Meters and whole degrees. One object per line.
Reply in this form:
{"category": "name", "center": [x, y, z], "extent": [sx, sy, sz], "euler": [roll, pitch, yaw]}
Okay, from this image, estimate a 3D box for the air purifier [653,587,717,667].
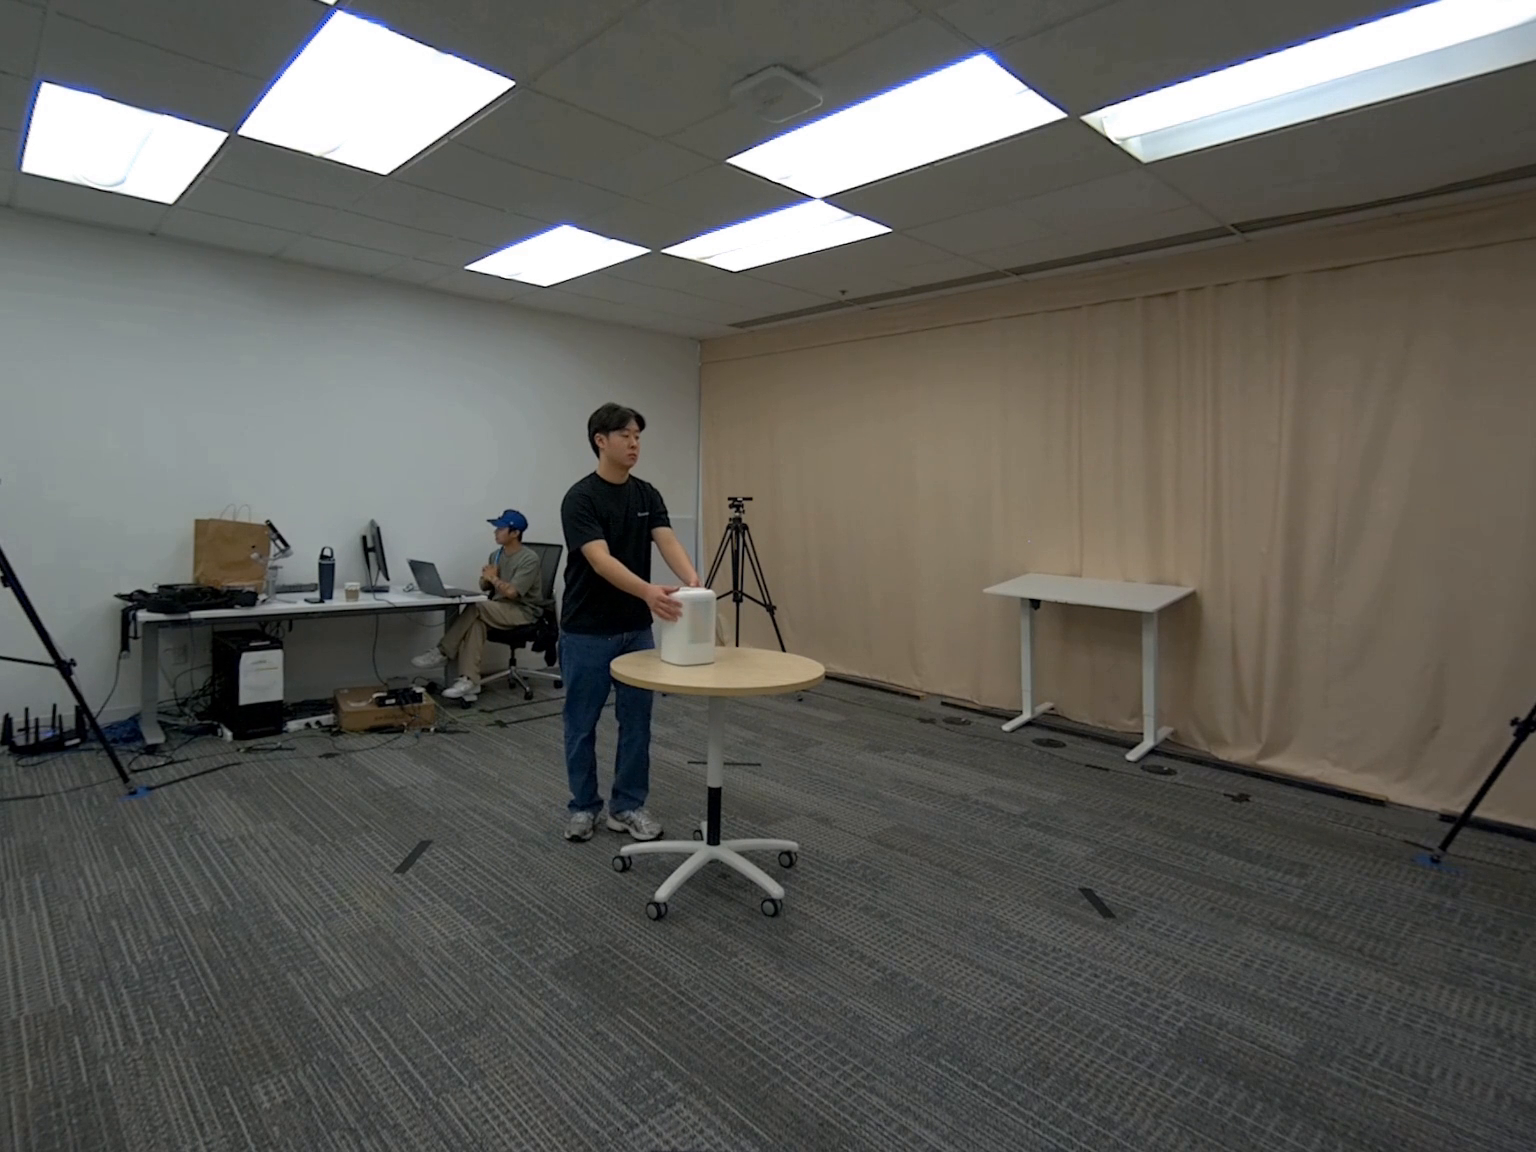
{"category": "air purifier", "center": [-0.293, 0.179, 3.052], "extent": [0.168, 0.265, 0.175], "euler": [-1, 3, -32]}
